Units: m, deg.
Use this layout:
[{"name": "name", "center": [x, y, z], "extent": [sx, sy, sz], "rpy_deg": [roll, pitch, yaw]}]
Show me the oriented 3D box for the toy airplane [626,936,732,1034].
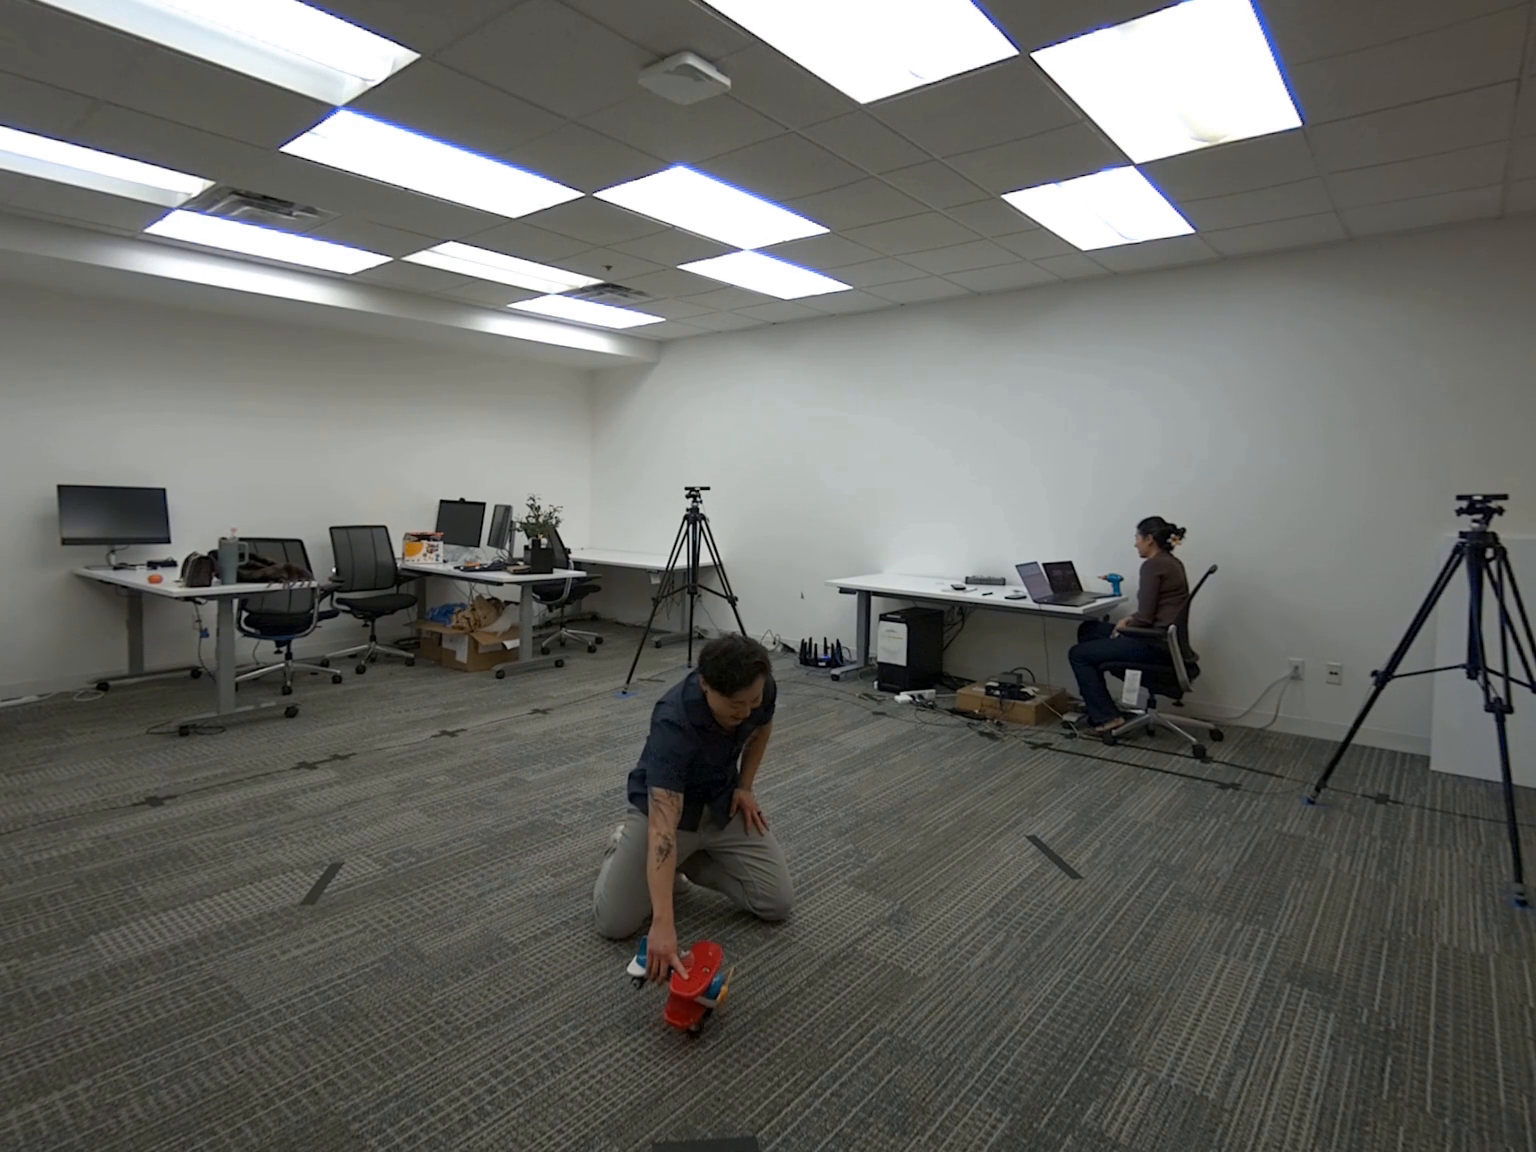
[{"name": "toy airplane", "center": [-0.238, 1.058, 2.197], "extent": [0.254, 0.156, 0.257], "rpy_deg": [23, 11, -15]}]
